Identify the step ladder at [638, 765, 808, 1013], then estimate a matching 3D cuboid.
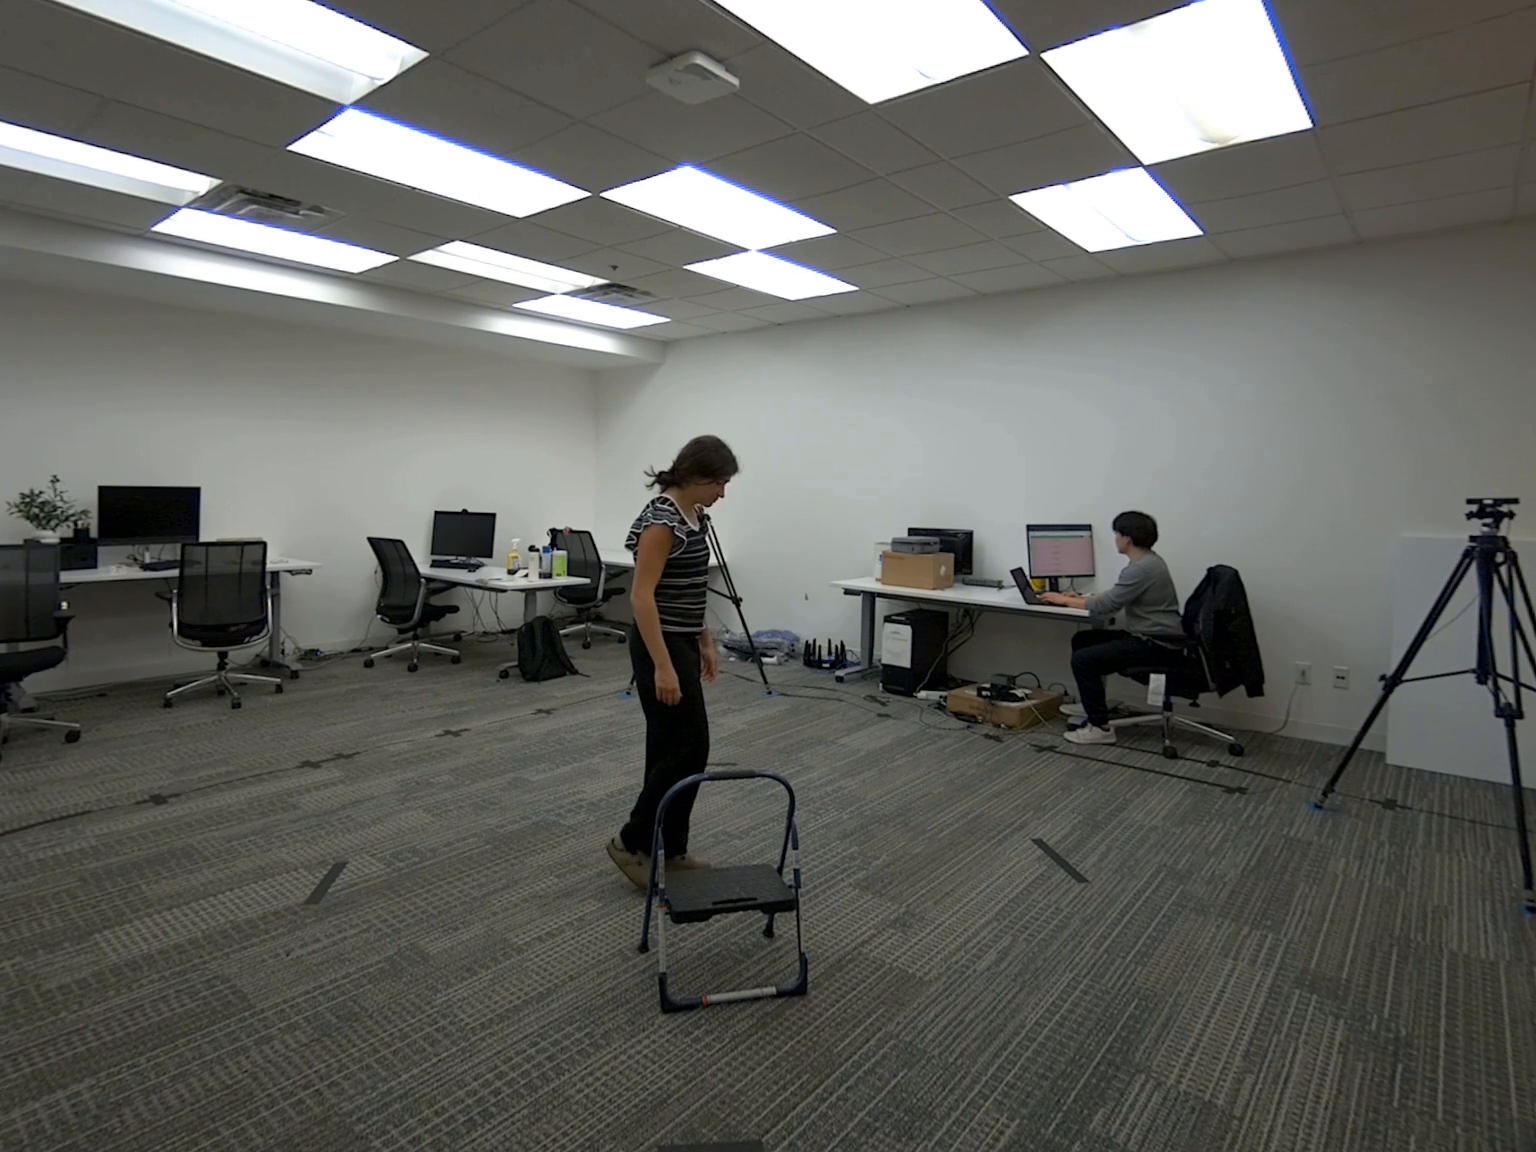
[{"bbox_3d":[-0.138,0.835,2.443,0.423,0.604,0.356,0,4,-16],"label":"step ladder"}]
